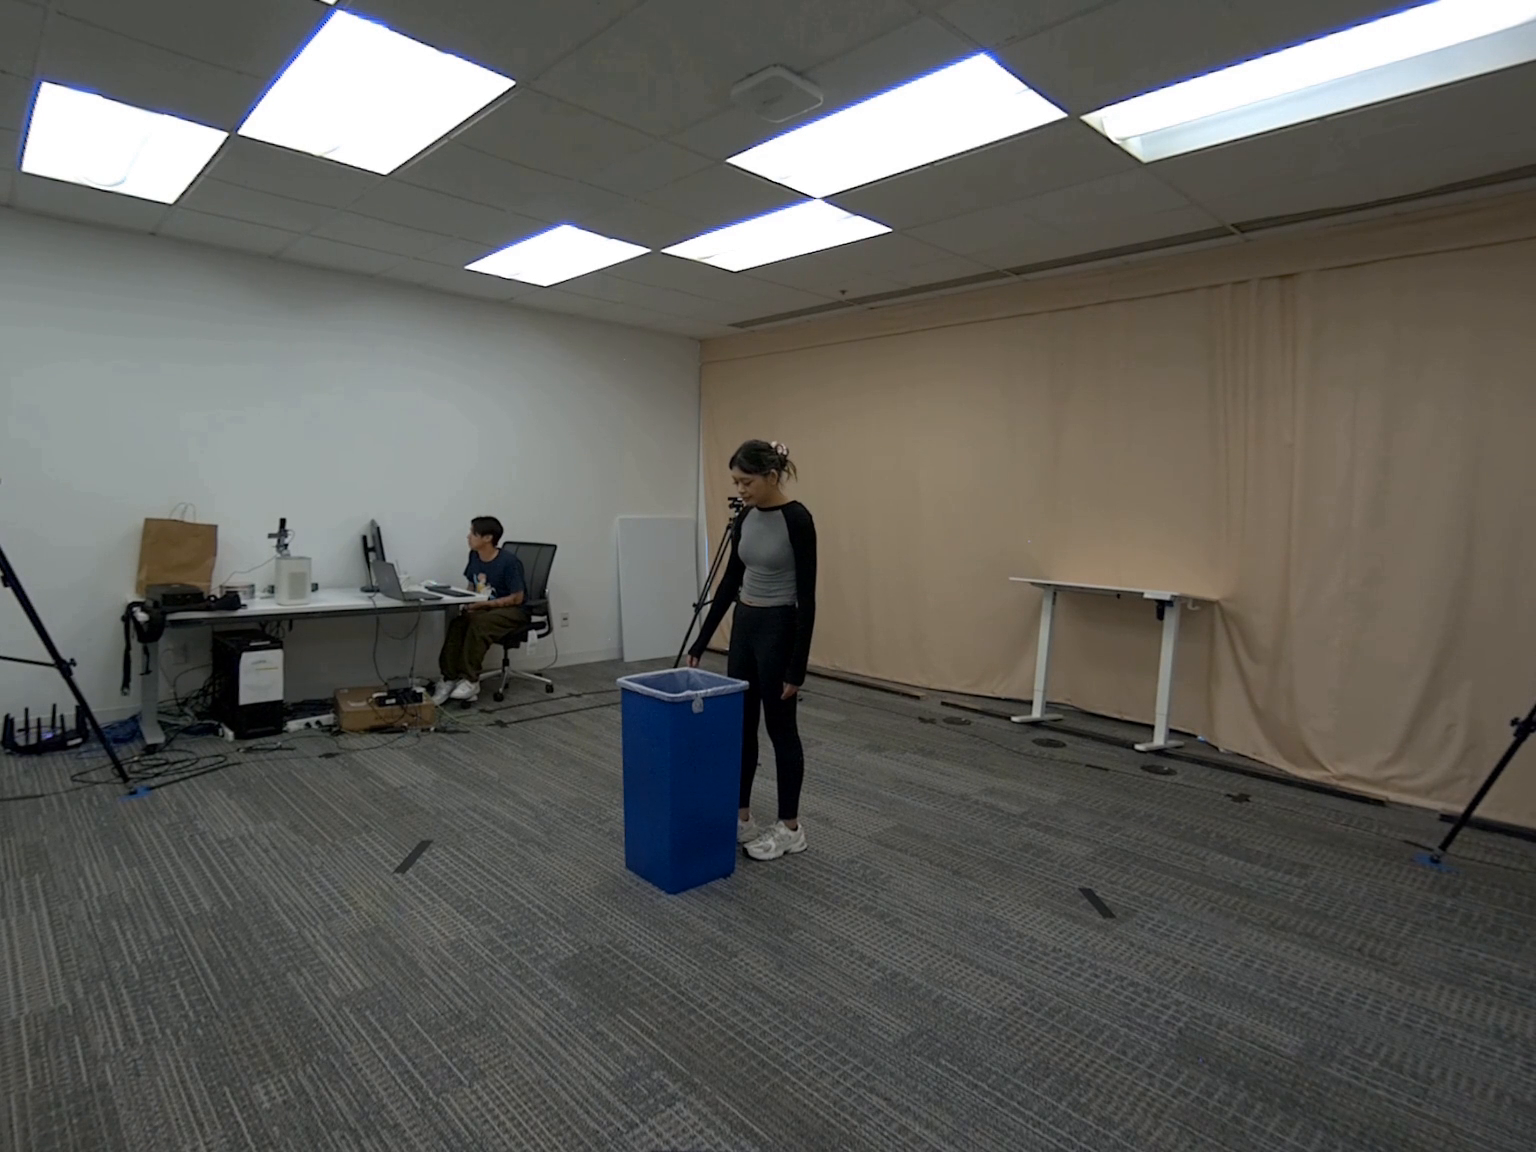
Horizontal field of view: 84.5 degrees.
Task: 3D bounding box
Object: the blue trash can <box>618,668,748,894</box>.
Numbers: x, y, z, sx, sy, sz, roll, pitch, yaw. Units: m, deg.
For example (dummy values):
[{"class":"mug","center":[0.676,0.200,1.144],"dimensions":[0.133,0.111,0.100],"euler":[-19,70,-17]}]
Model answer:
[{"class":"blue trash can","center":[-0.336,0.741,3.133],"dimensions":[0.369,0.712,0.384],"euler":[-1,4,-43]}]
